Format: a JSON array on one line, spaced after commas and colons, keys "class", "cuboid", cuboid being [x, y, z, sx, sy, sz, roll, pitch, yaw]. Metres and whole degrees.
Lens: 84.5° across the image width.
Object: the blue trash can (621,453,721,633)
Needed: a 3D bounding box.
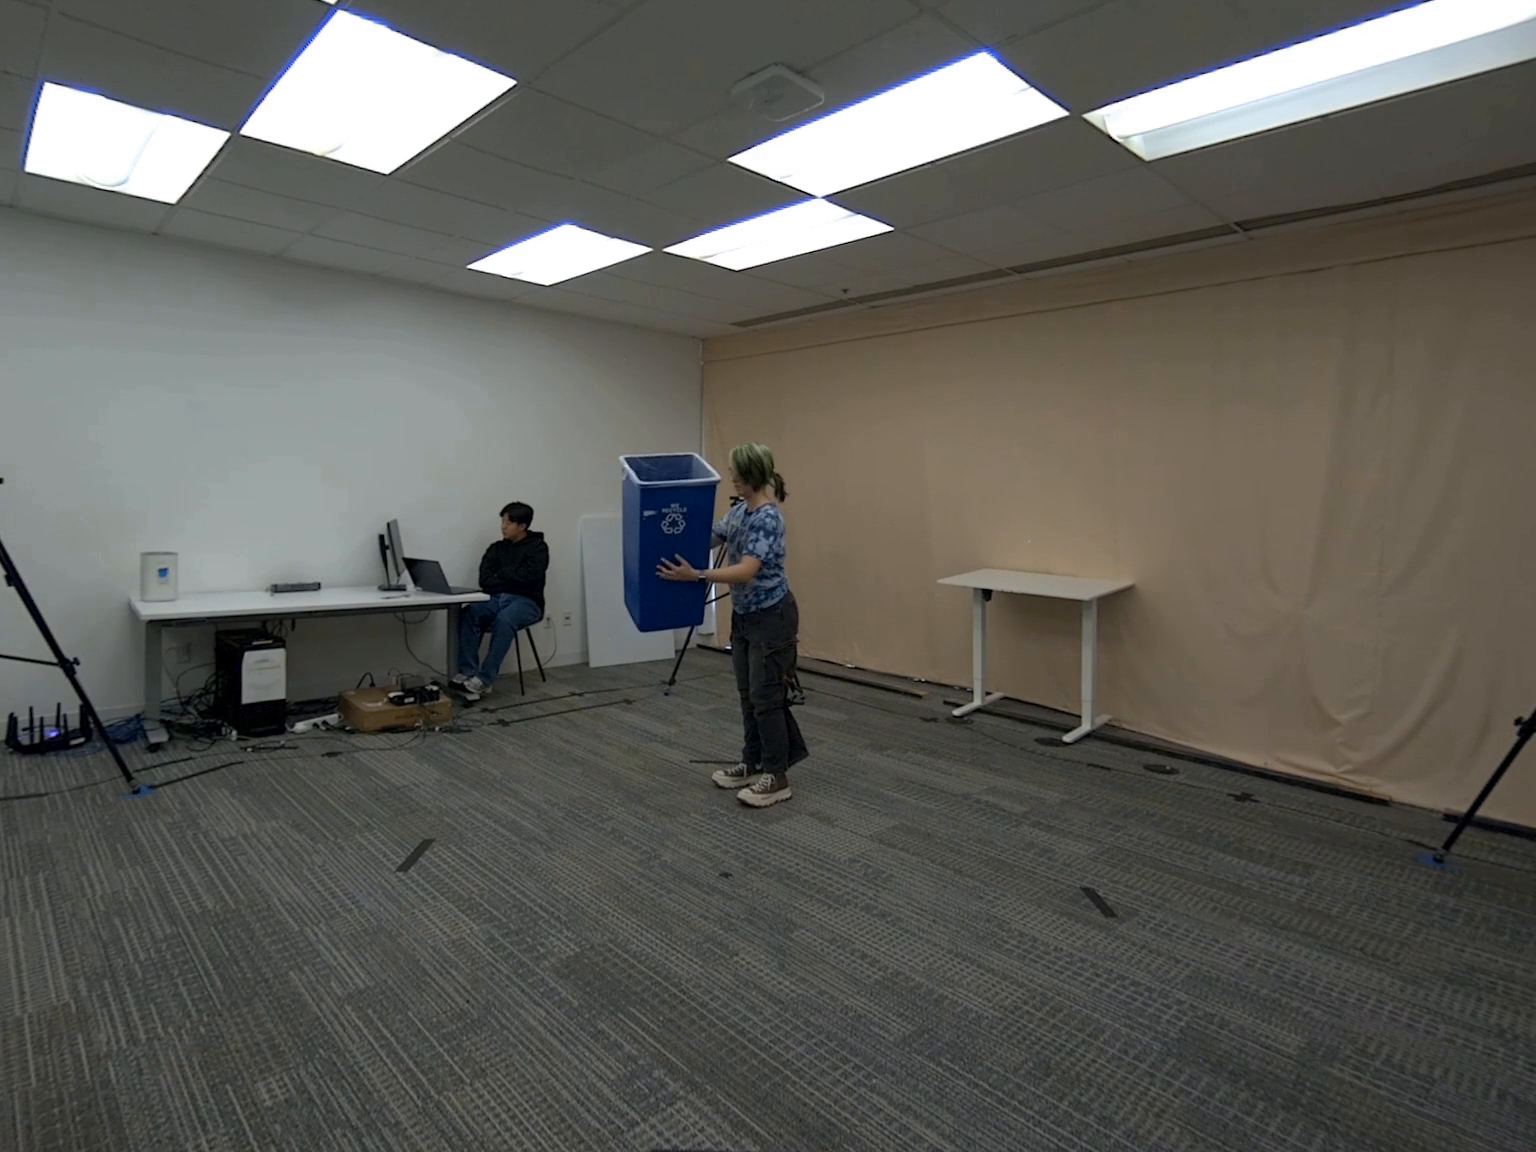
[{"class": "blue trash can", "cuboid": [-0.458, -0.151, 3.742, 0.369, 0.703, 0.389, -5, 27, -21]}]
